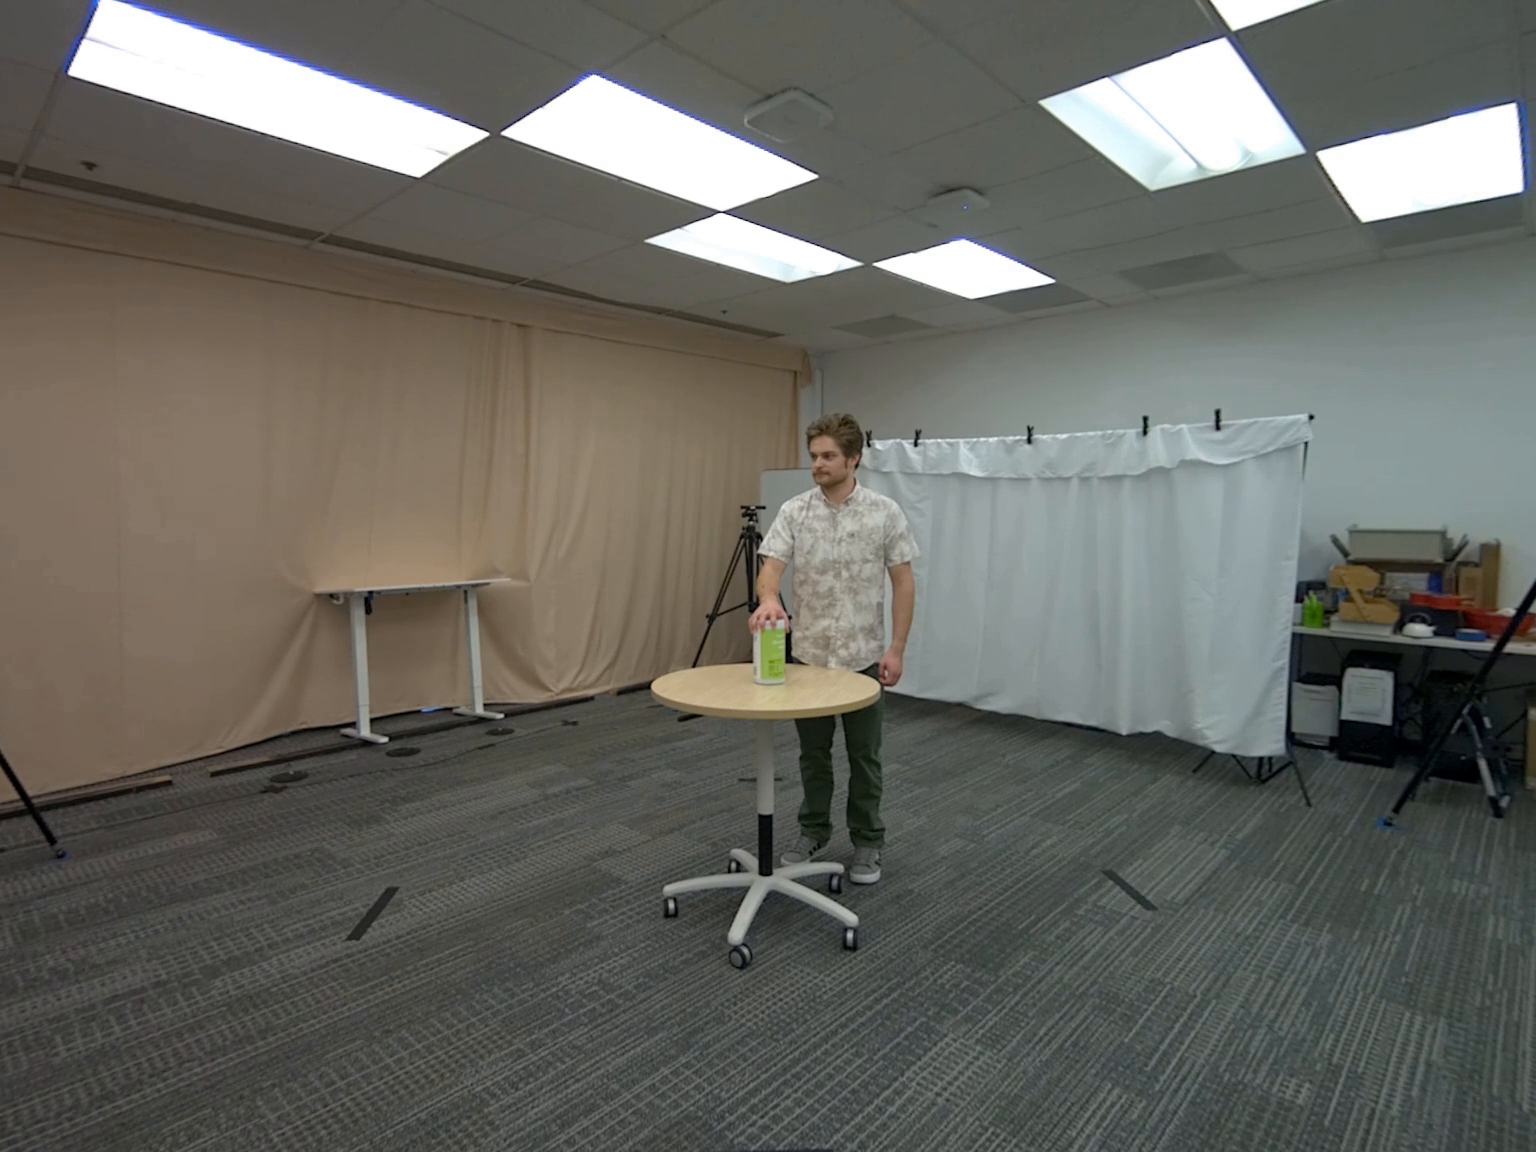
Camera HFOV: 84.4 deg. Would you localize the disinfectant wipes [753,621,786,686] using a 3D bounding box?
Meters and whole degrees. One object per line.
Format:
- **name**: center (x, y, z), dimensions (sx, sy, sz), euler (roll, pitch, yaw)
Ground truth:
- **disinfectant wipes**: center (0.006, 0.257, 2.860), dimensions (0.118, 0.217, 0.118), euler (0, 4, -2)
